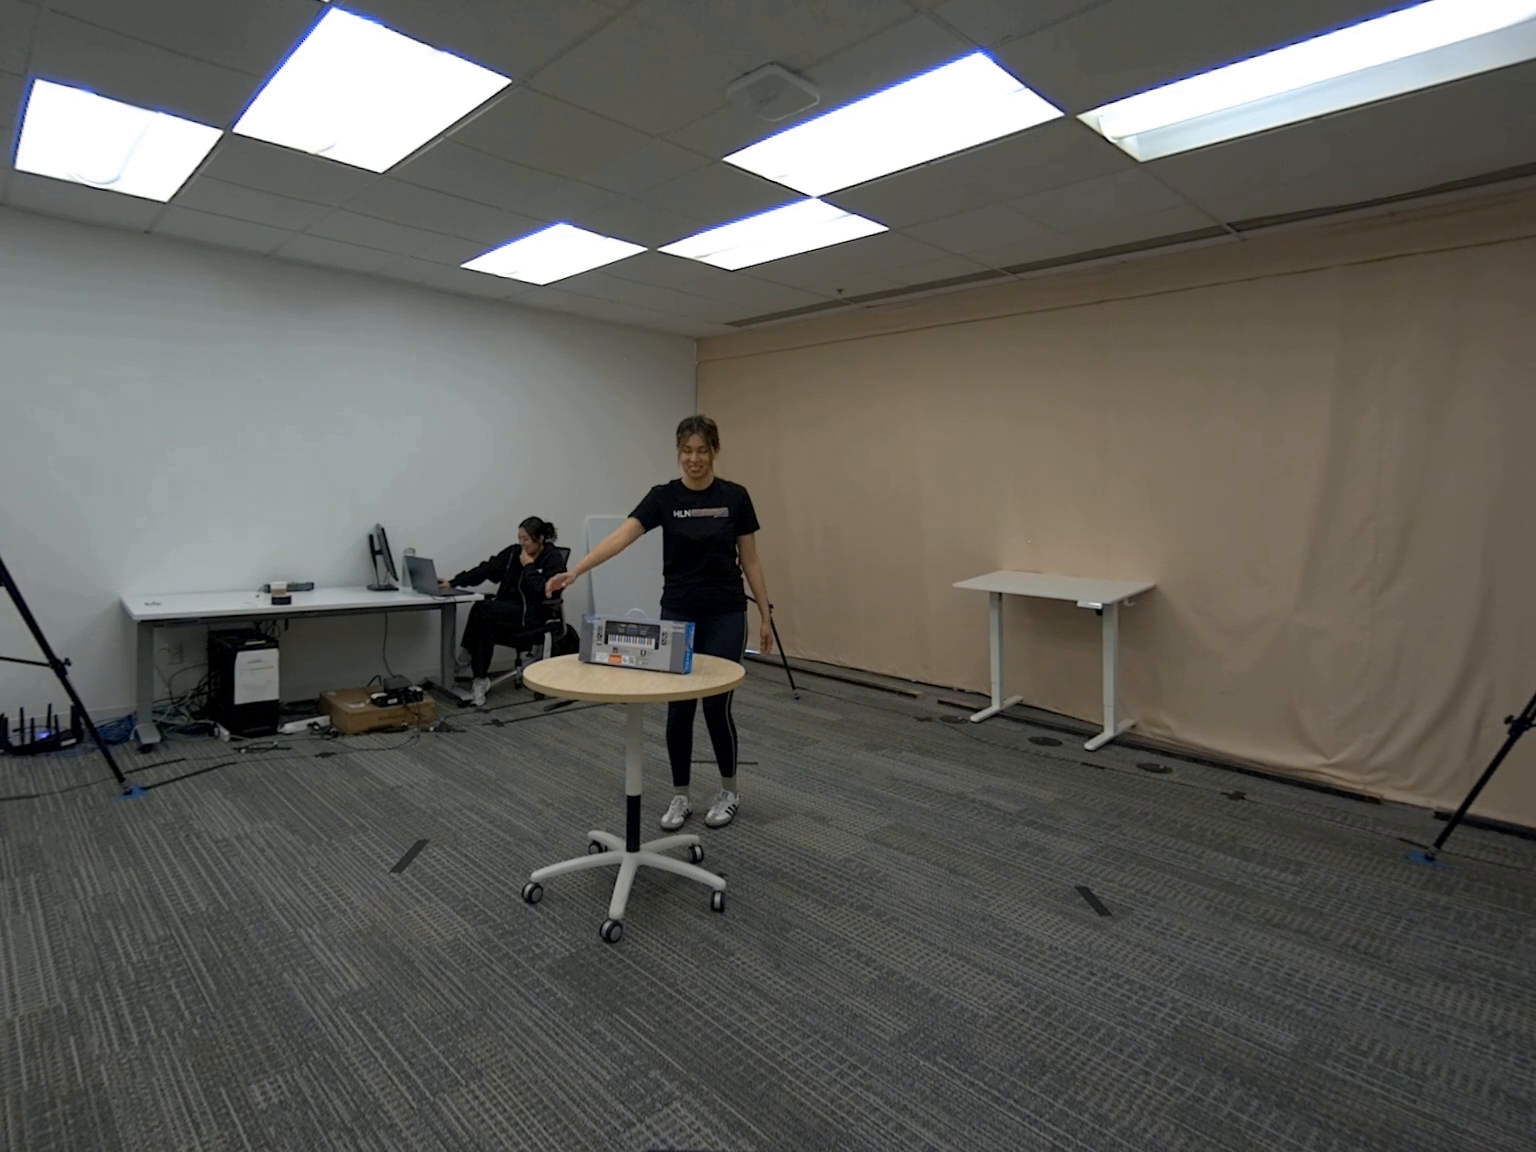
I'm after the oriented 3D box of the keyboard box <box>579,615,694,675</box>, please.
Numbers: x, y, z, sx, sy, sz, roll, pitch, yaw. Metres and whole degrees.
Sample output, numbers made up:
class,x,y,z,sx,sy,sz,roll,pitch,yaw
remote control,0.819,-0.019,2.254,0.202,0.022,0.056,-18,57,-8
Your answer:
class,x,y,z,sx,sy,sz,roll,pitch,yaw
keyboard box,-0.472,0.236,2.979,0.444,0.176,0.058,3,-2,22
